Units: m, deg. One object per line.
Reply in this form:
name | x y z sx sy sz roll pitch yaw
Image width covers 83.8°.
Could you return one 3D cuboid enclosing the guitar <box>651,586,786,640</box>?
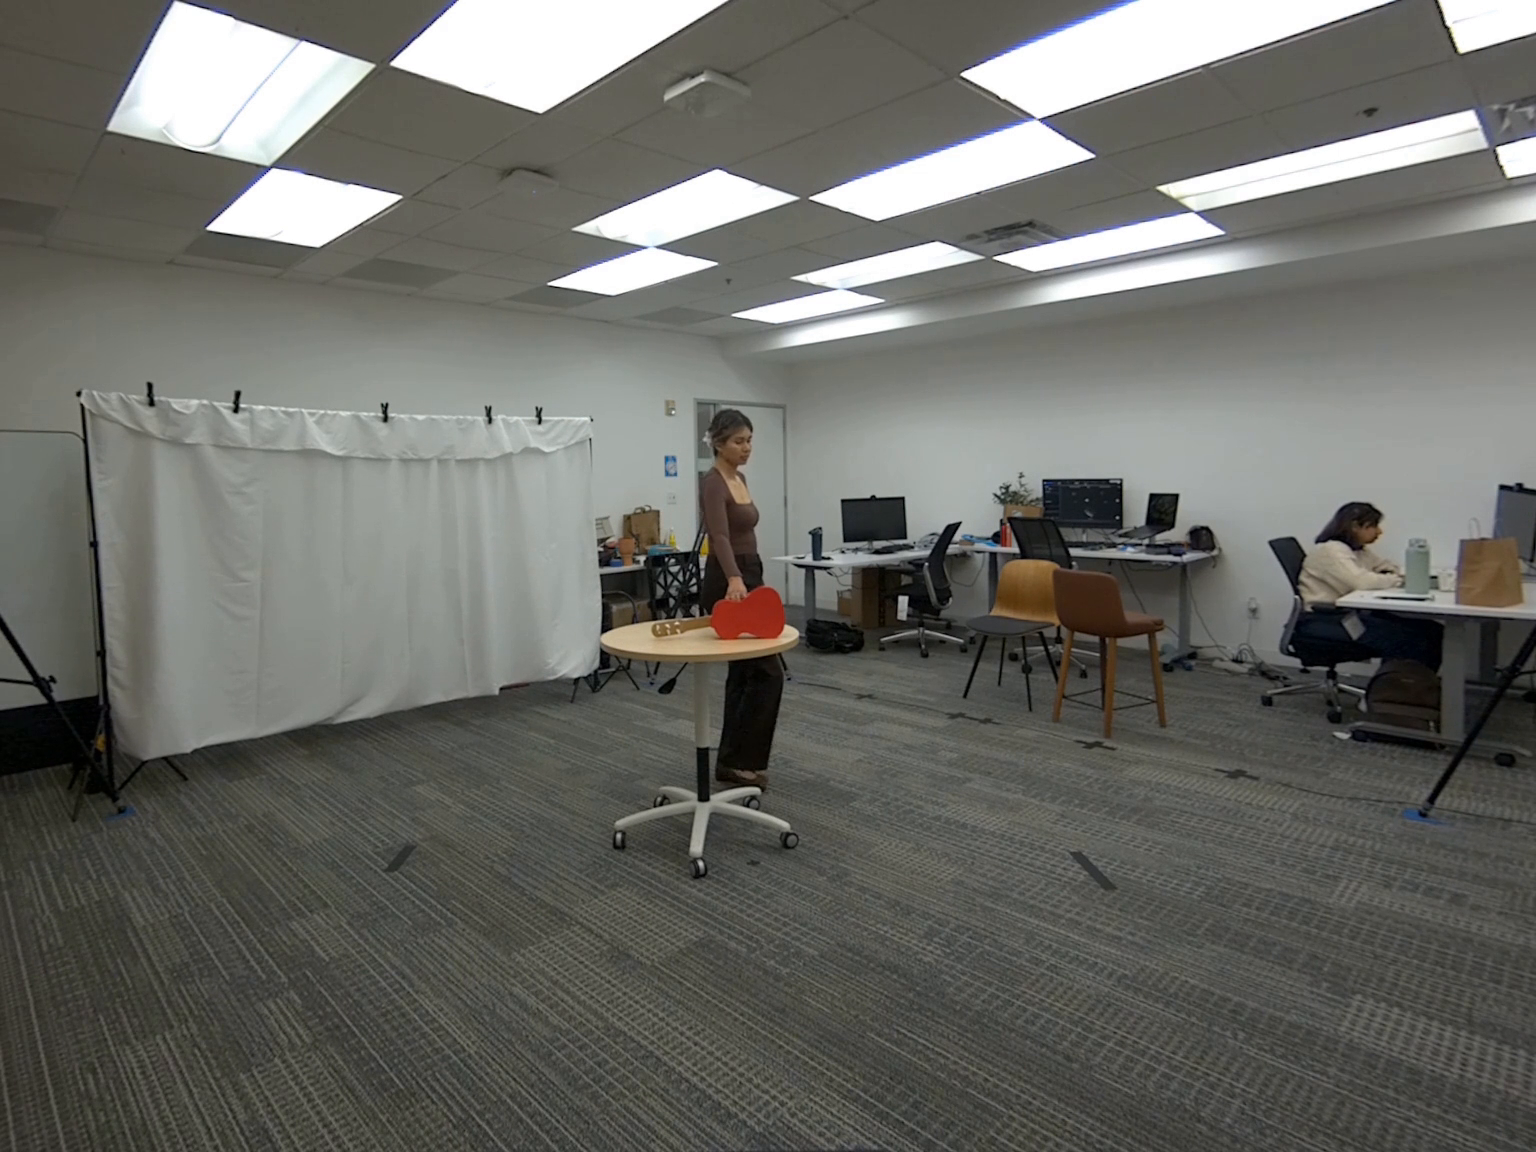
guitar | -0.183 0.193 3.204 0.497 0.193 0.071 -19 1 -1
